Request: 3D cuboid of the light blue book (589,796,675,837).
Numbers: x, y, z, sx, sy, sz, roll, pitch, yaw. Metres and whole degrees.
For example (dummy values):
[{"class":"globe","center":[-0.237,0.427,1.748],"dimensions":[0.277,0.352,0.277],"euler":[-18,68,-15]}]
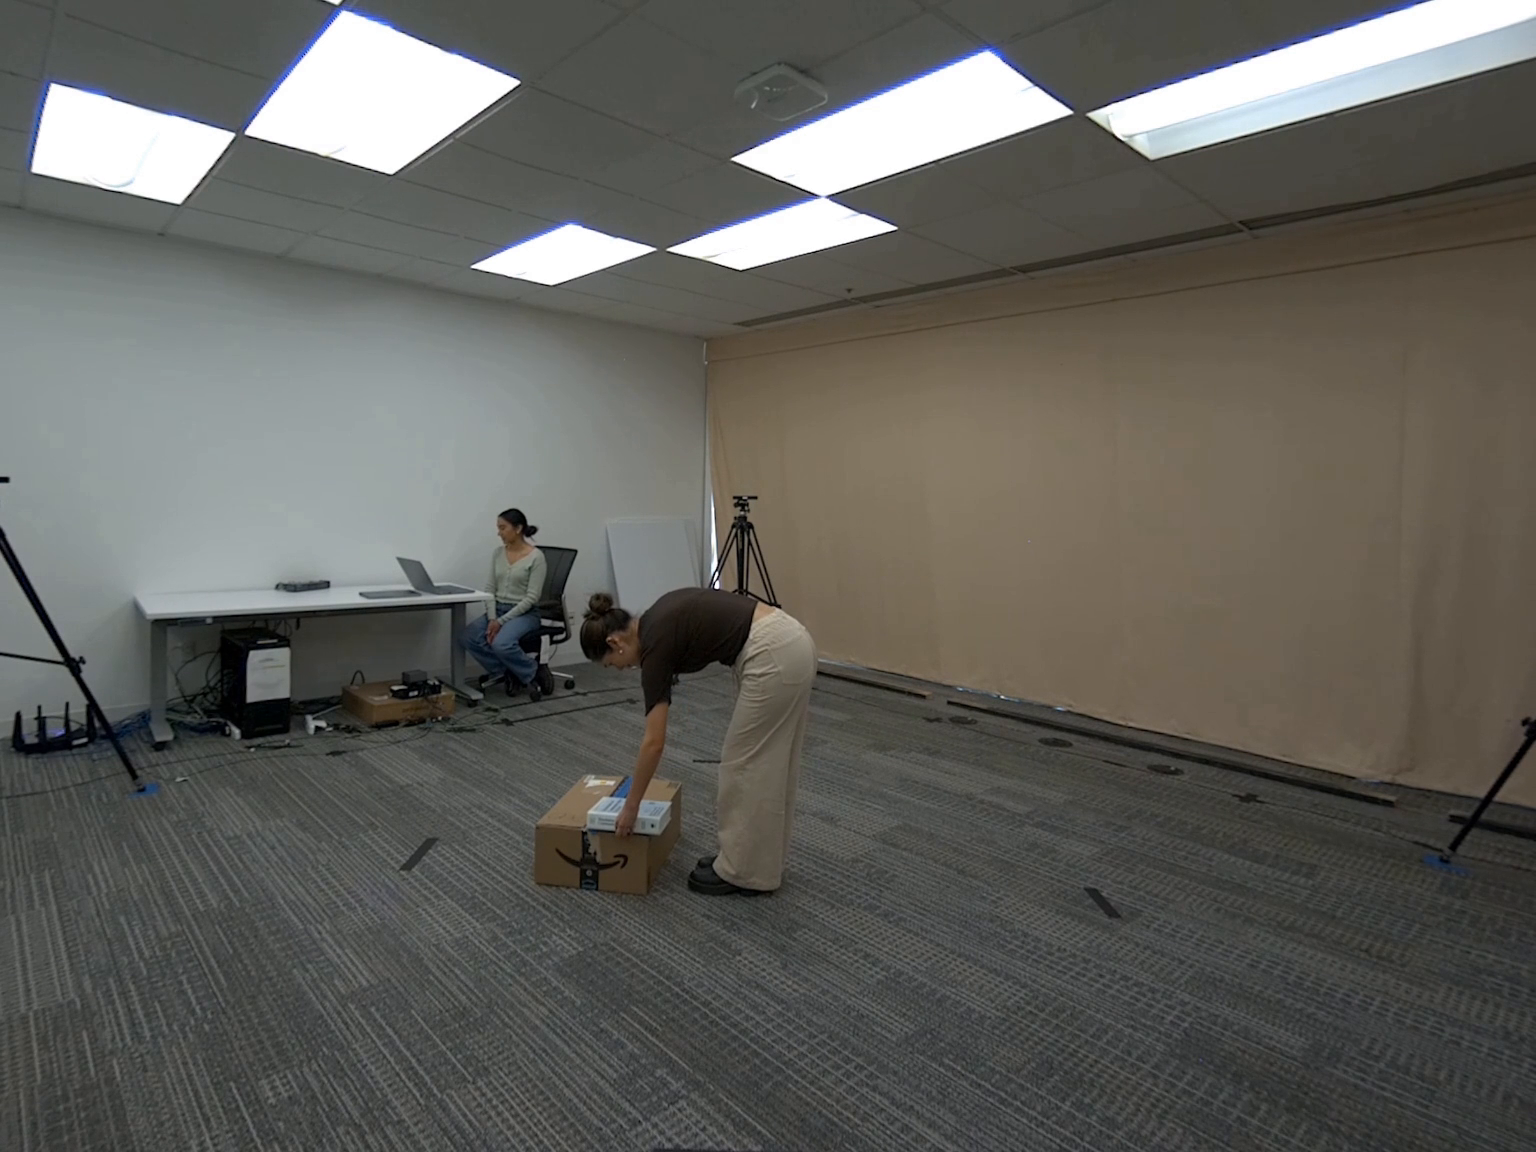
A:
[{"class":"light blue book","center":[-0.483,0.853,3.016],"dimensions":[0.263,0.059,0.190],"euler":[2,2,7]}]
